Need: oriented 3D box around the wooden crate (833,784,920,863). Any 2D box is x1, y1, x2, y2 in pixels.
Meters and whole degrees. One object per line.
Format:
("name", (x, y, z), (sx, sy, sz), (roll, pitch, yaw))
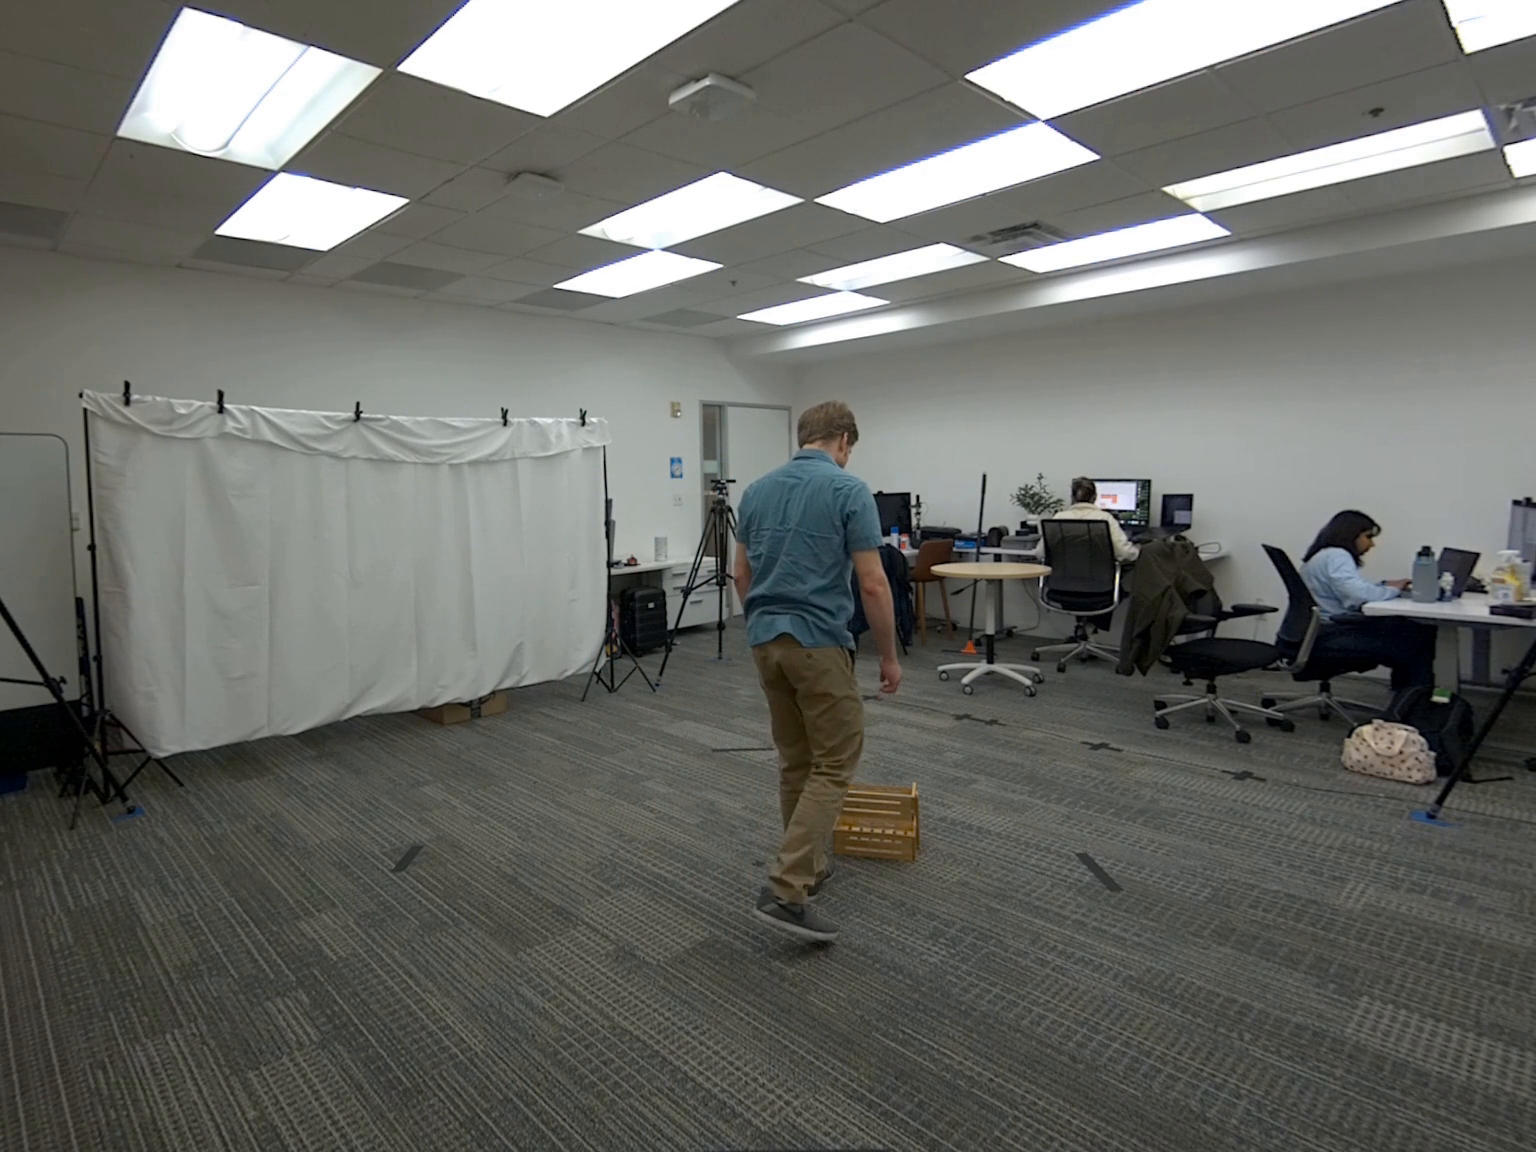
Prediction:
("wooden crate", (0.414, 0.895, 3.237), (0.329, 0.273, 0.298), (0, 3, 14))
